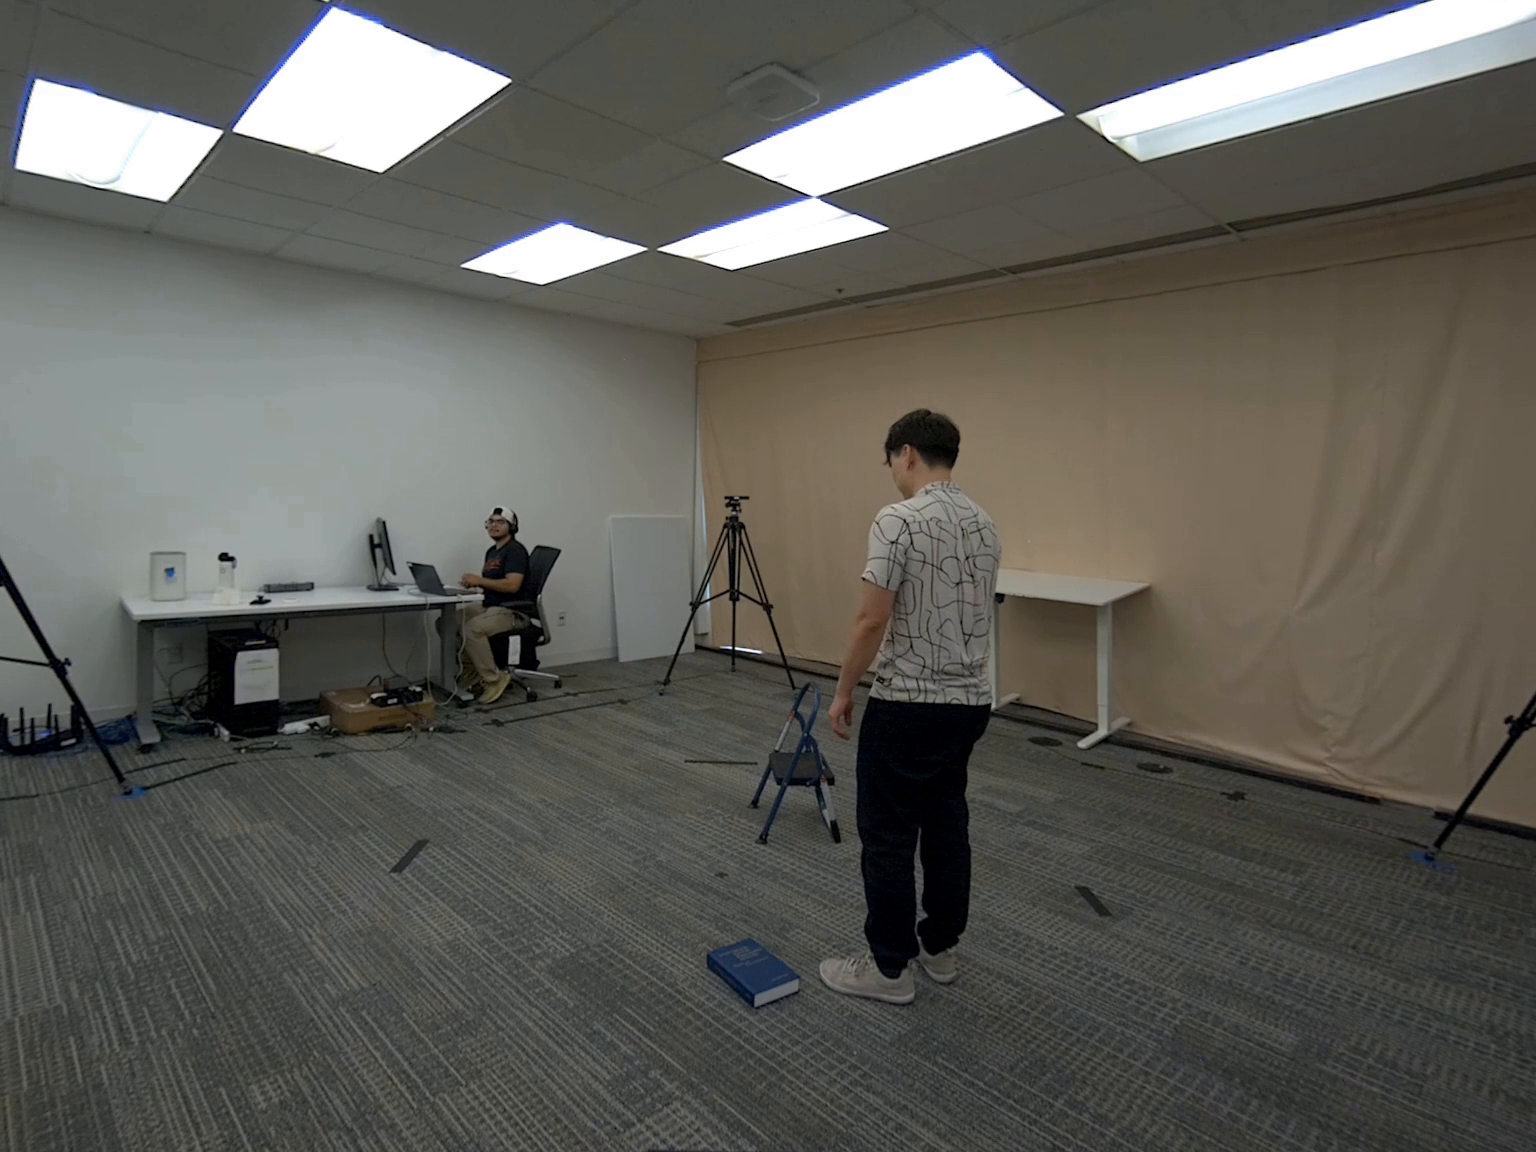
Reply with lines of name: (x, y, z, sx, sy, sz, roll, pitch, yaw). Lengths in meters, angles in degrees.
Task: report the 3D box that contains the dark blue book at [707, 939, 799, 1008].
dark blue book: (-0.044, 1.142, 2.436, 0.160, 0.045, 0.251, -2, 6, -36)
